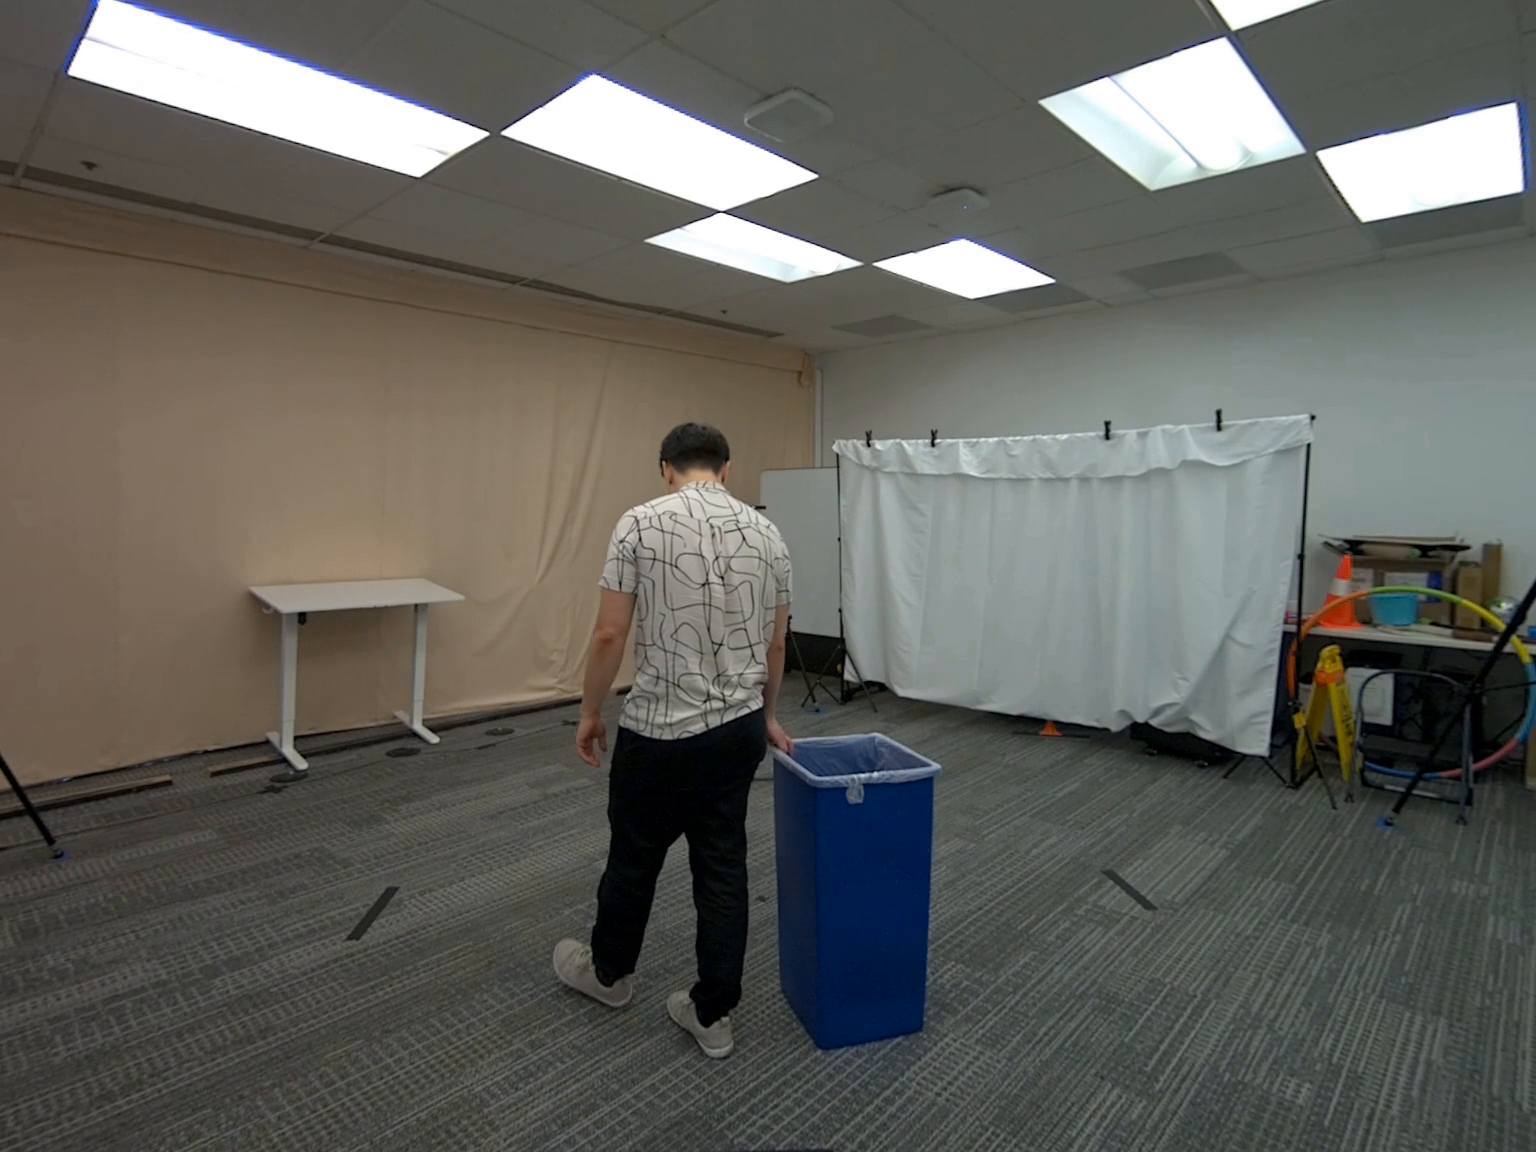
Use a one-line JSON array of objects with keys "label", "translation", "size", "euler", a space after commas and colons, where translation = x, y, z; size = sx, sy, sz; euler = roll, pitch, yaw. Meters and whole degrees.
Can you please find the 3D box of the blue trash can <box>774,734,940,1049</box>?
[{"label": "blue trash can", "translation": [0.225, 0.842, 2.318], "size": [0.371, 0.712, 0.381], "euler": [-1, 3, -18]}]
